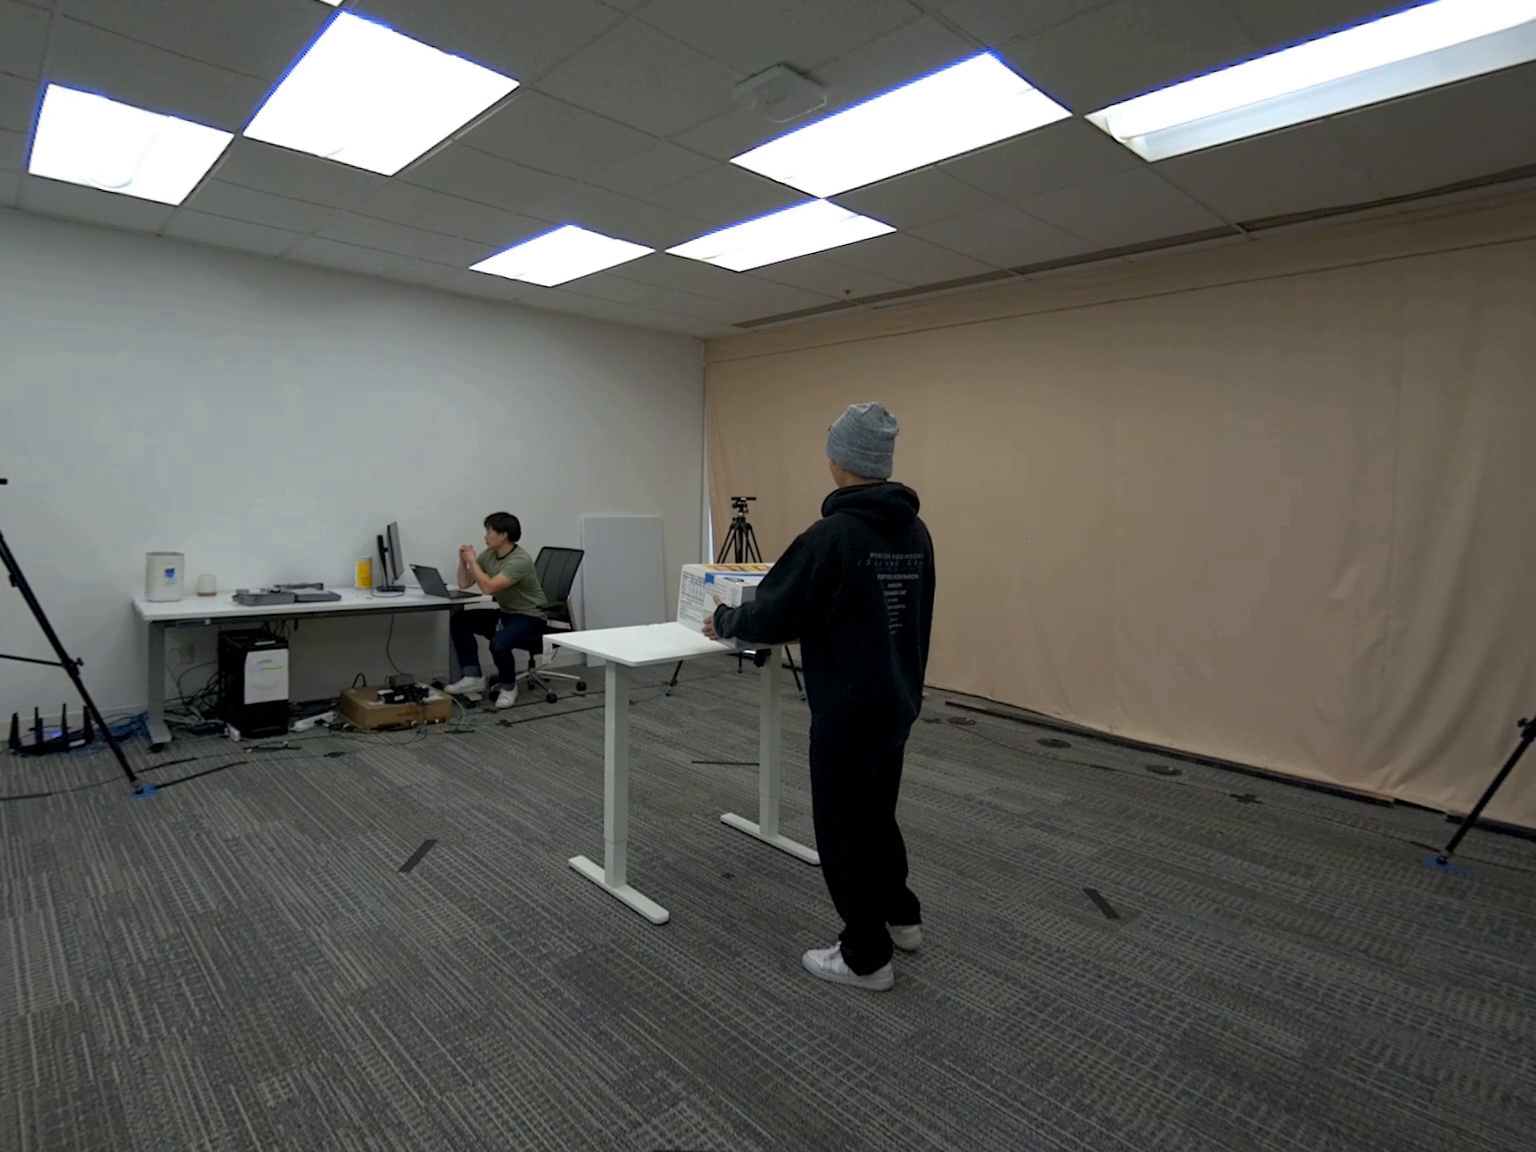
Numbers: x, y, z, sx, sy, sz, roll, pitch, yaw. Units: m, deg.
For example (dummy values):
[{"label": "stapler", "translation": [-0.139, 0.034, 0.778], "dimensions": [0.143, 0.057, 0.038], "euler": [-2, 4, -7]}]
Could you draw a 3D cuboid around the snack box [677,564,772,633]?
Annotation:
[{"label": "snack box", "translation": [-0.034, 0.091, 2.783], "dimensions": [0.396, 0.204, 0.350], "euler": [-2, 11, -38]}]
